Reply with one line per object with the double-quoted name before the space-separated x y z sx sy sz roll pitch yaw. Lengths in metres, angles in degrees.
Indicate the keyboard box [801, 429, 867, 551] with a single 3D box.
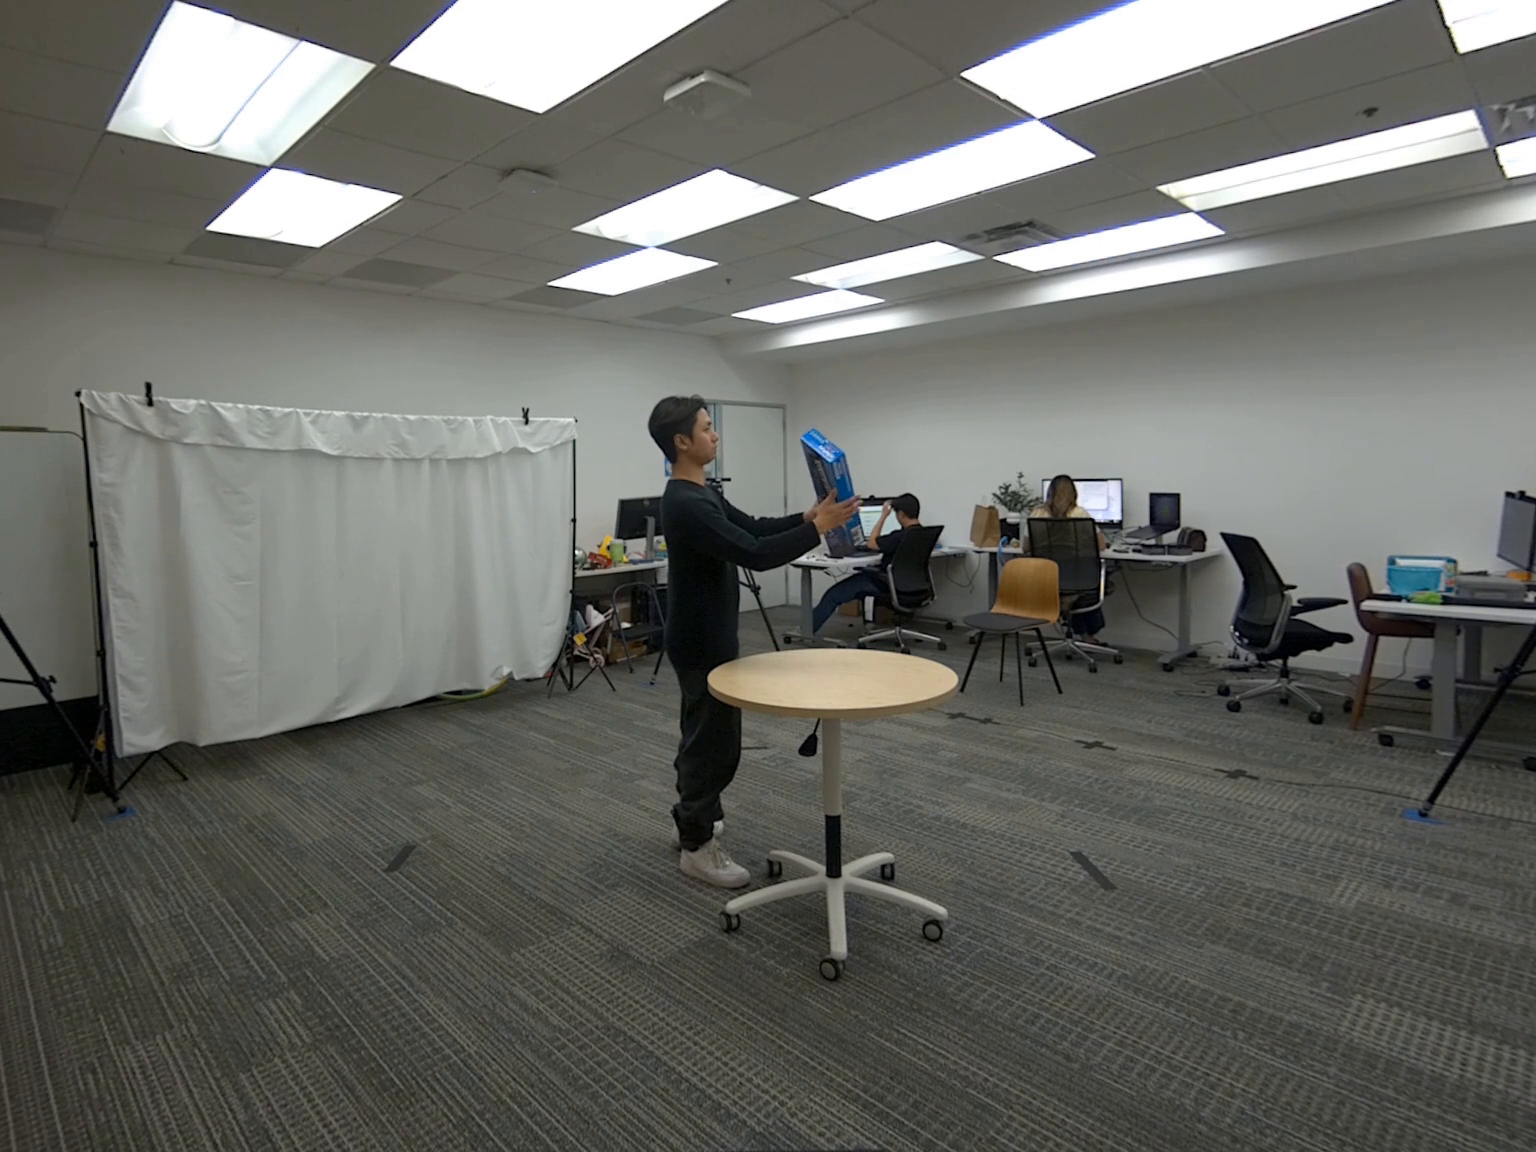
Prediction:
"keyboard box" 0.224 -0.287 2.882 0.059 0.421 0.183 -33 50 -10
